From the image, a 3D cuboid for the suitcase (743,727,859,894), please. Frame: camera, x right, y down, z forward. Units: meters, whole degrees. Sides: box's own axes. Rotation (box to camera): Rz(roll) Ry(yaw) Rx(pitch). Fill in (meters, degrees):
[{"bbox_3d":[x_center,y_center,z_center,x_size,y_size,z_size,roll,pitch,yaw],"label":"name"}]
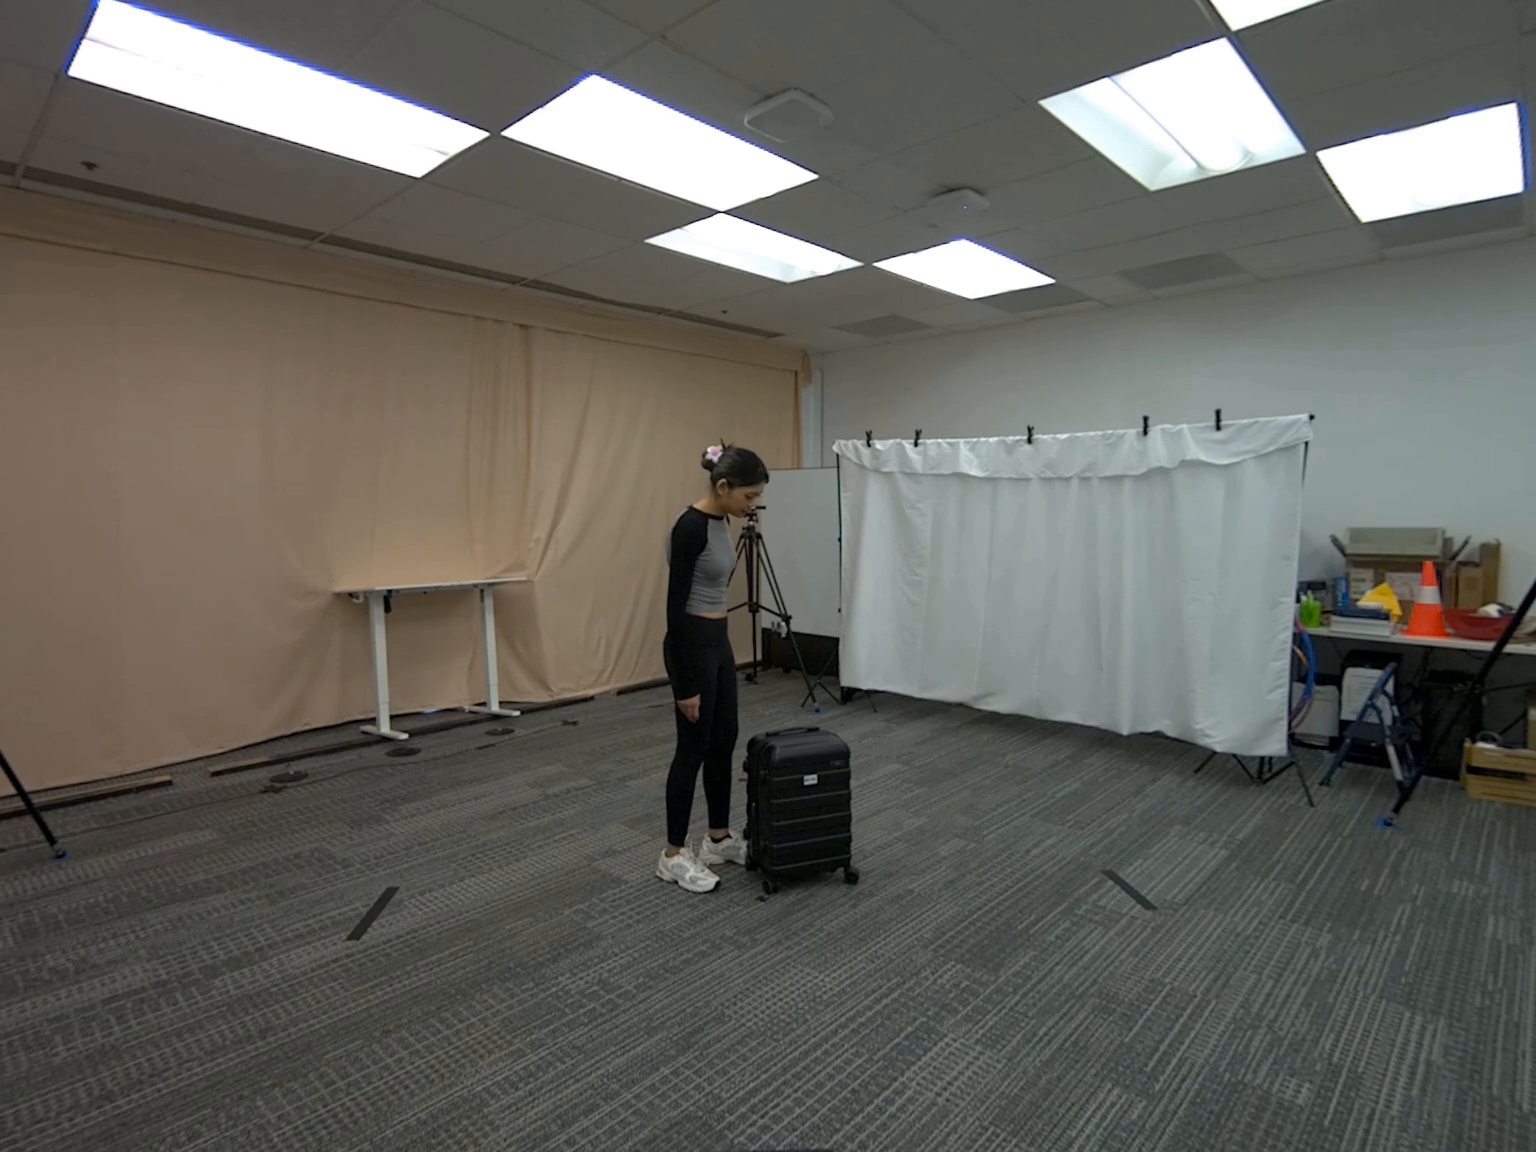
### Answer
[{"bbox_3d":[0.123,0.853,3.138,0.368,0.548,0.254,0,4,-19],"label":"suitcase"}]
